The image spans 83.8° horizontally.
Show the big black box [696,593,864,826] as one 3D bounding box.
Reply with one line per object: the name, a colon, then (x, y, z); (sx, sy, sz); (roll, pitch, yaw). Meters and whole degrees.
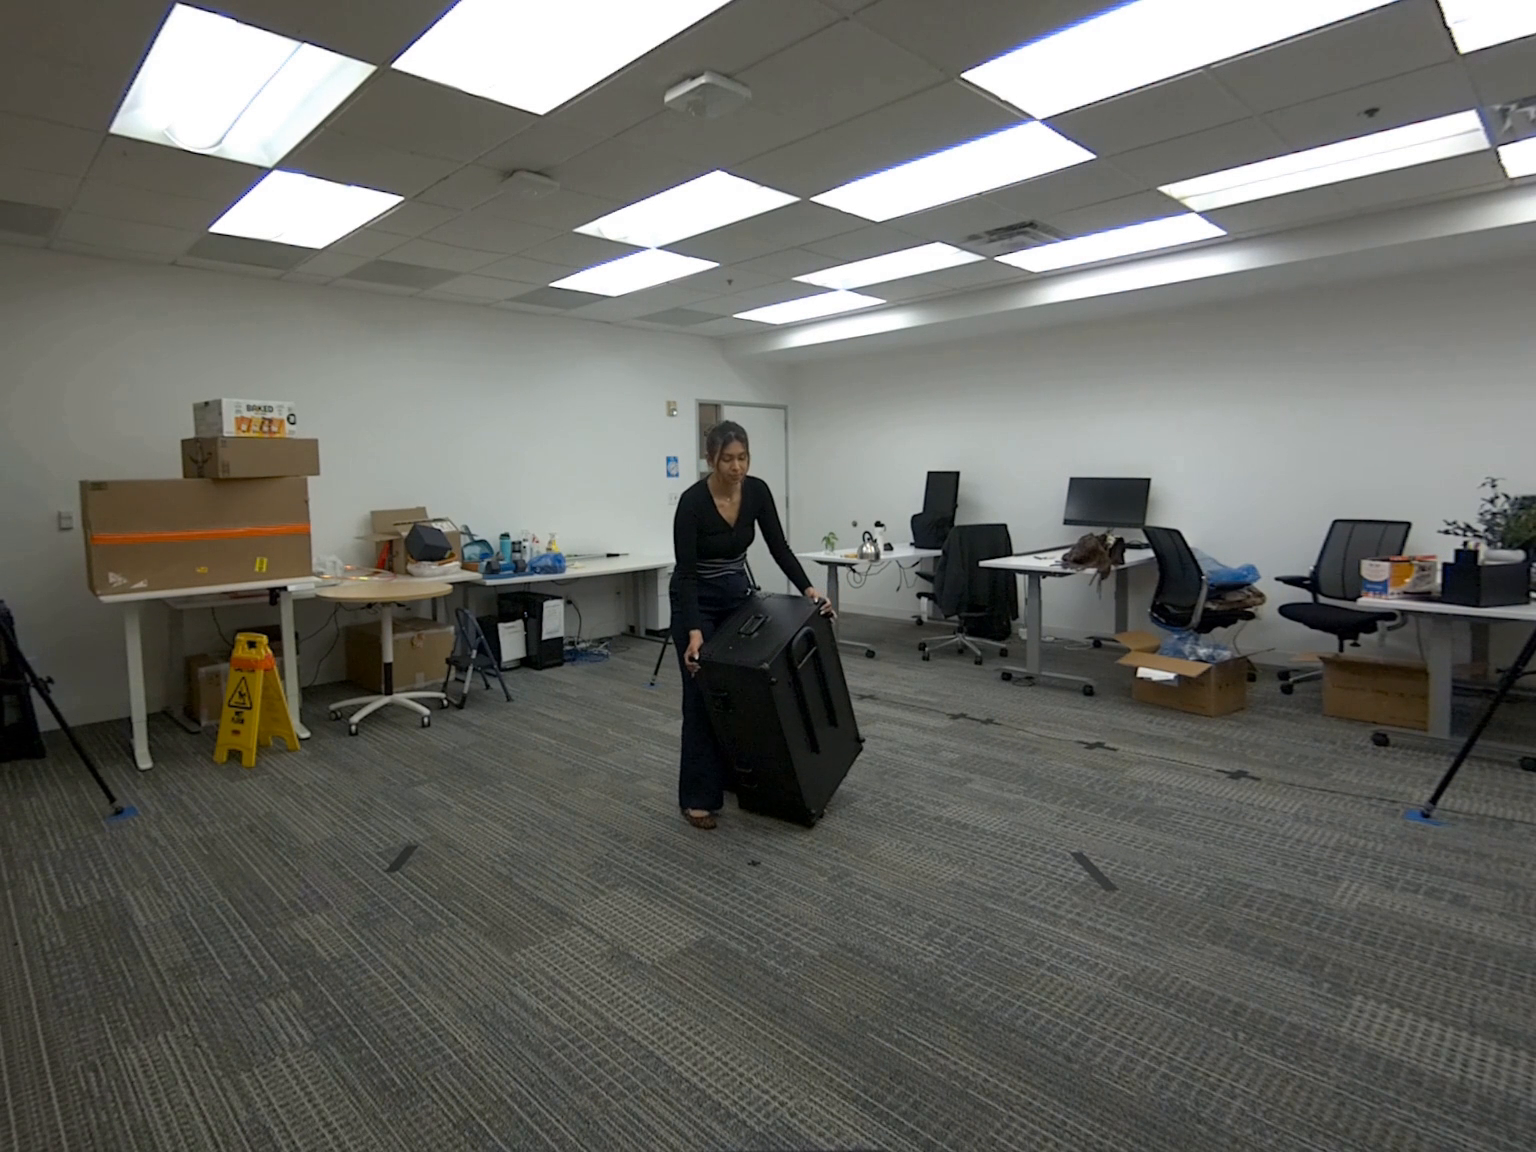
big black box: (0.078, 0.558, 3.502); (0.408, 0.839, 0.520); (5, 33, 35)
